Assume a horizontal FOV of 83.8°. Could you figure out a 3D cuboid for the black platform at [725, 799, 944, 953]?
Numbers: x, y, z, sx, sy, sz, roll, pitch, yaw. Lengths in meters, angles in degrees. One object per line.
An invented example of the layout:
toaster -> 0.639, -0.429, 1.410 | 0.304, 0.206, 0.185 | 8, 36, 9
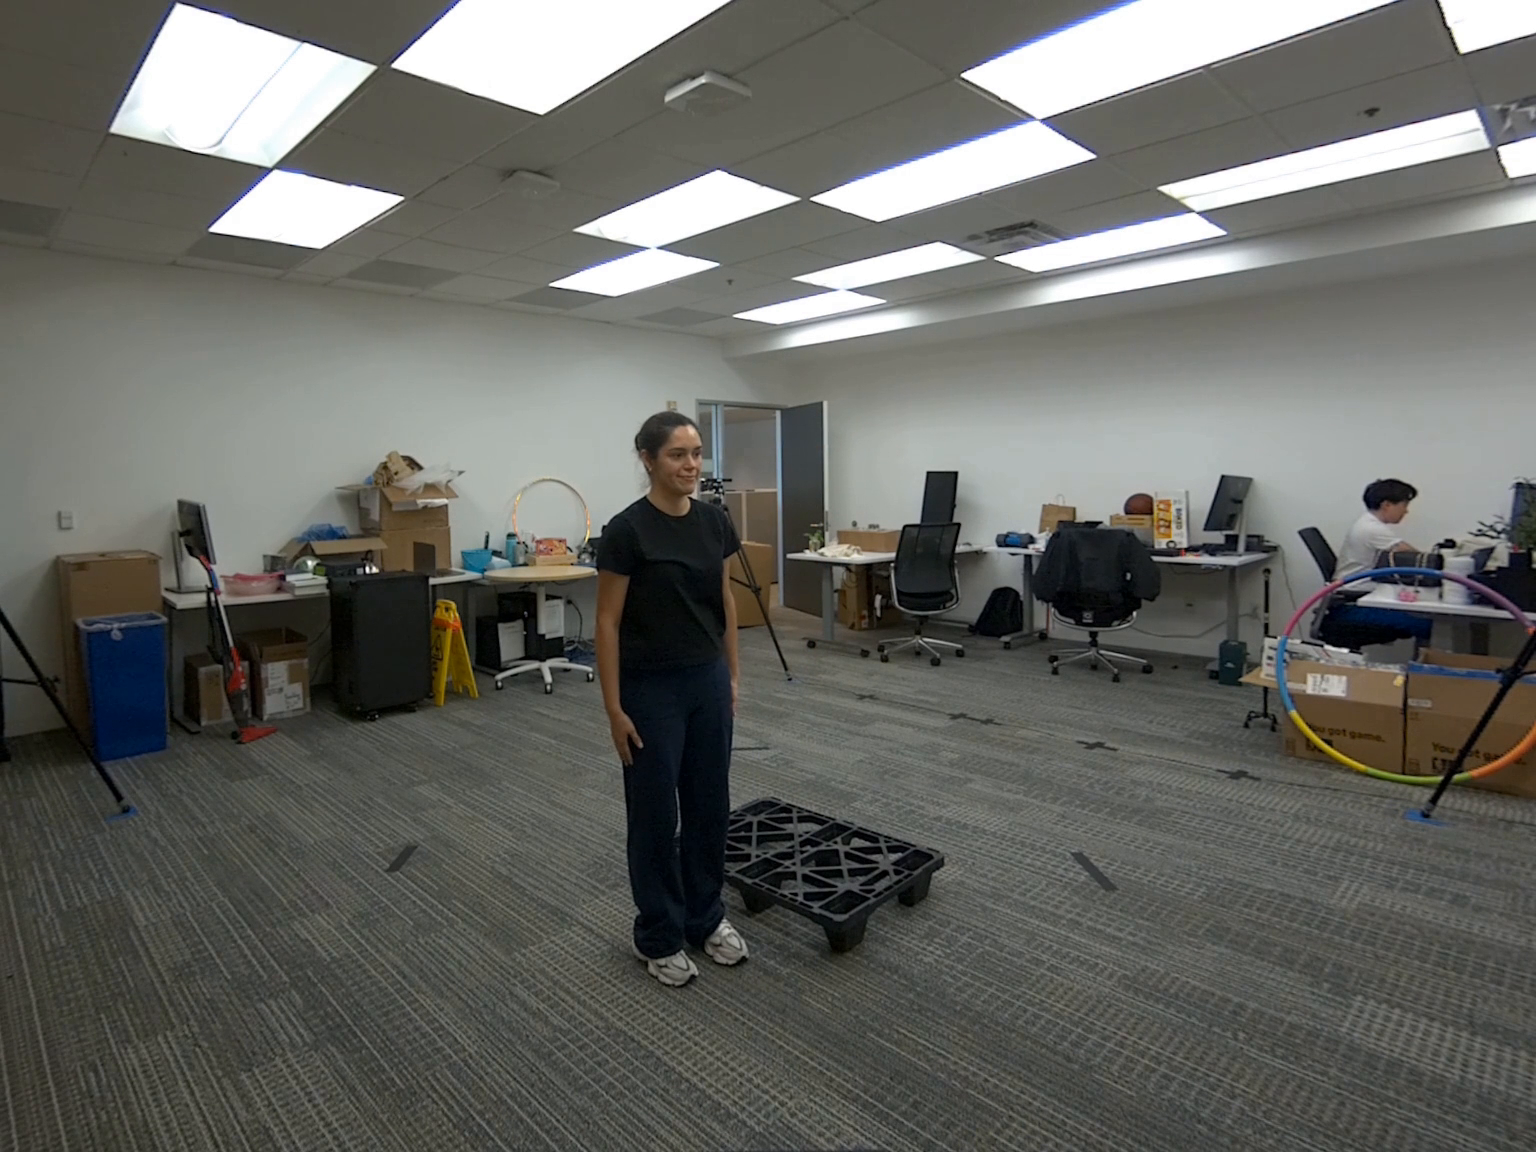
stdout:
black platform -> 0.103, 0.996, 2.930 | 0.830, 0.142, 0.590 | 5, 9, 42
